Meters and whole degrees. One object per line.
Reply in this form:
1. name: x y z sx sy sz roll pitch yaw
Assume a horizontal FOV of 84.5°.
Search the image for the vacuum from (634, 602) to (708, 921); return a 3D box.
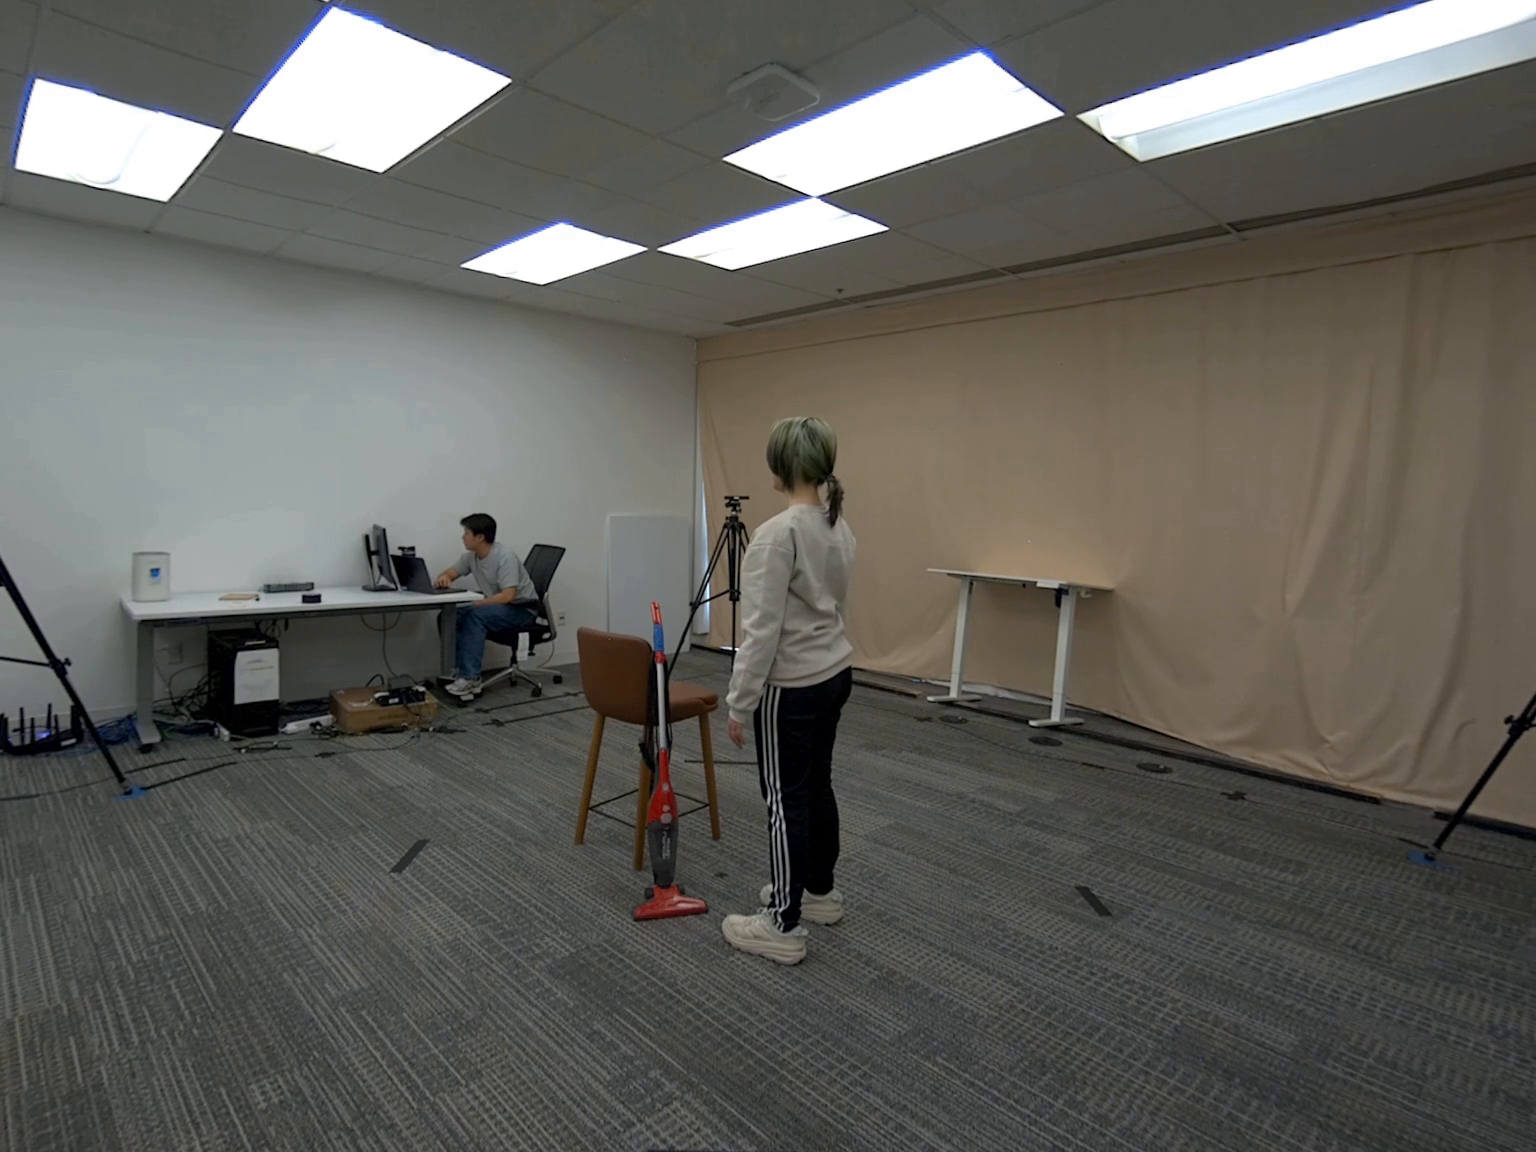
1. vacuum: -0.387 0.614 2.992 0.249 1.062 0.144 1 -17 -20
